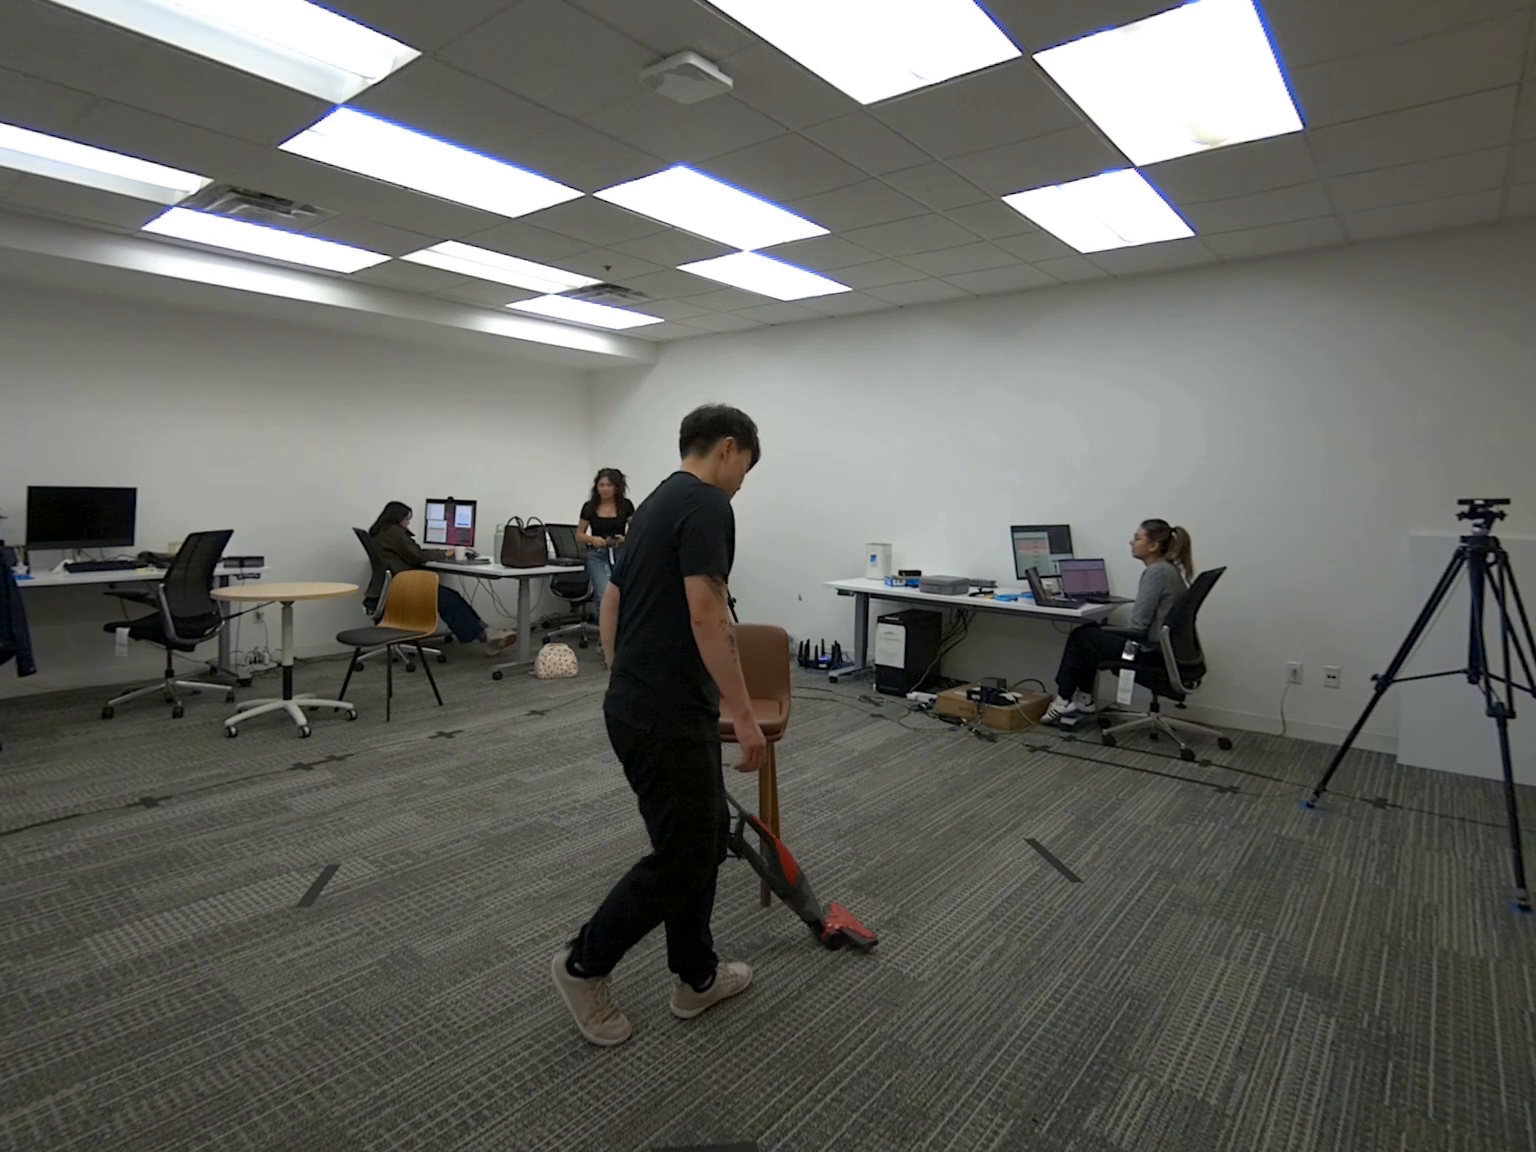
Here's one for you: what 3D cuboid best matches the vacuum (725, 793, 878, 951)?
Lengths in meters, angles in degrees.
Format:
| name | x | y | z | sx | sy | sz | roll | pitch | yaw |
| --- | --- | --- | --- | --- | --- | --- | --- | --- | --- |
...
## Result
| name | x | y | z | sx | sy | sz | roll | pitch | yaw |
| --- | --- | --- | --- | --- | --- | --- | --- | --- | --- |
| vacuum | -0.079 | 0.741 | 2.513 | 0.144 | 1.025 | 0.259 | -47 | 18 | -20 |
